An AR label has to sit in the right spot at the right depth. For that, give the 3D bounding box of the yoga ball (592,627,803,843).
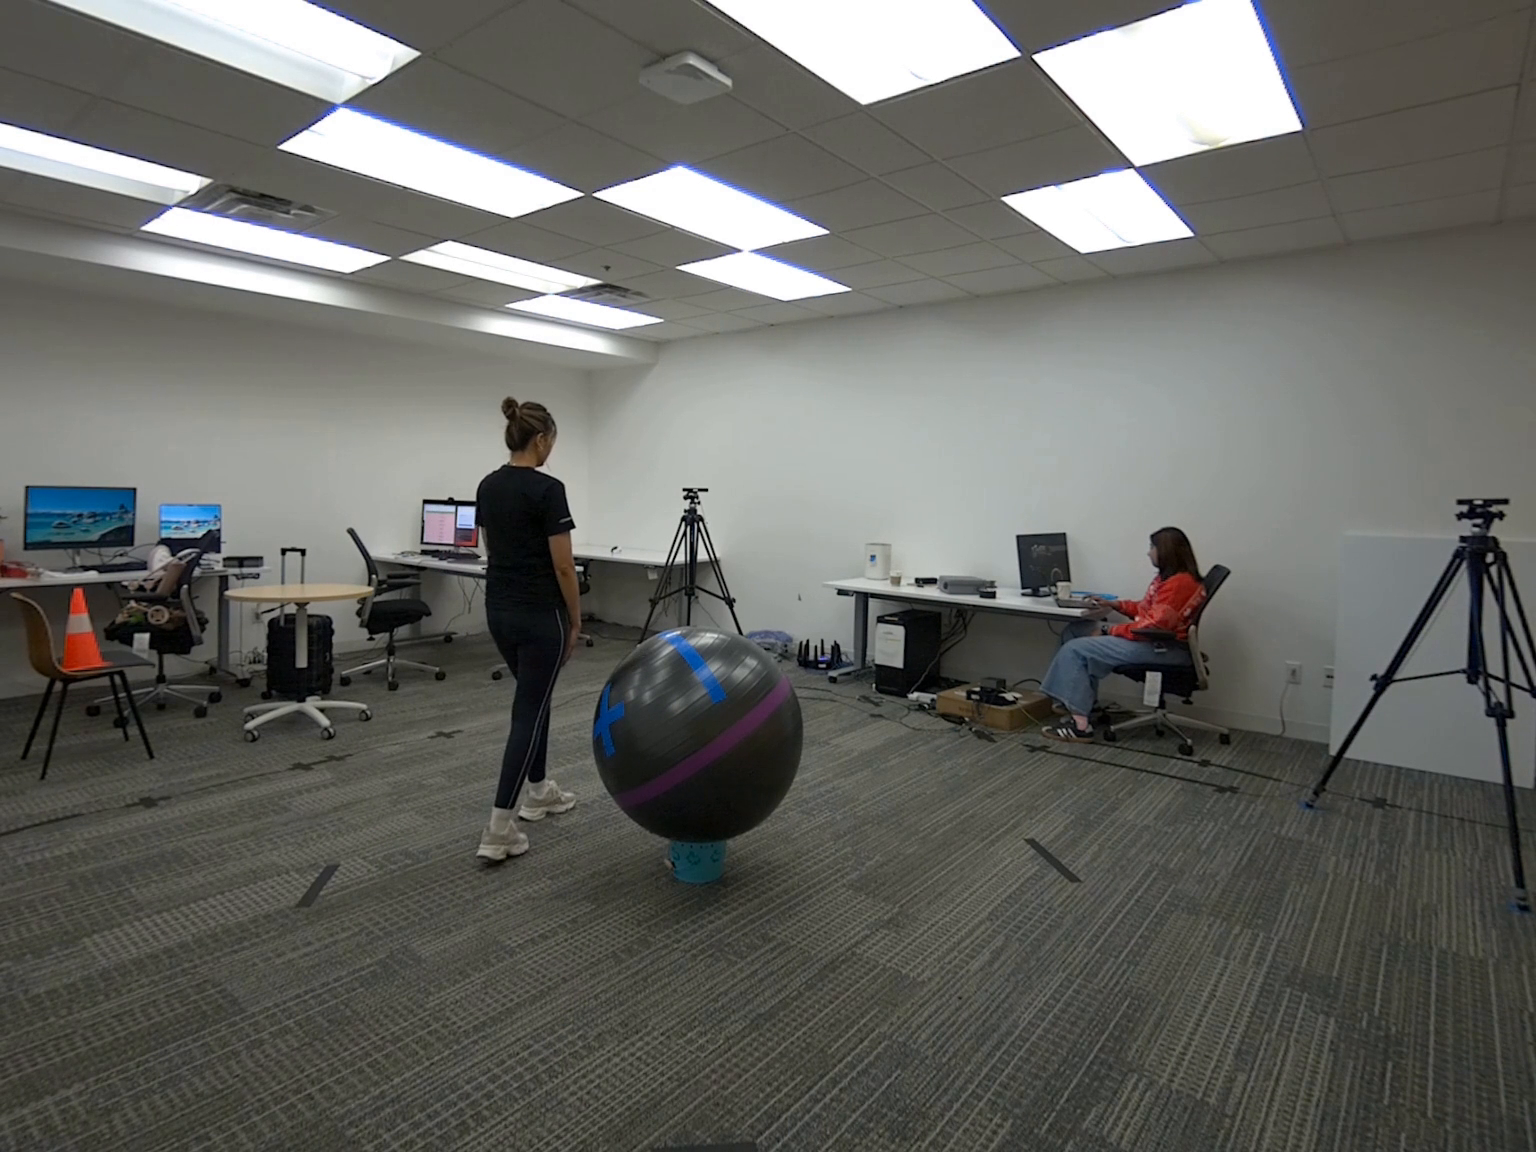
[{"bbox_3d":[-0.262,0.566,3.065,0.757,0.755,0.762,1,4,-2],"label":"yoga ball"}]
